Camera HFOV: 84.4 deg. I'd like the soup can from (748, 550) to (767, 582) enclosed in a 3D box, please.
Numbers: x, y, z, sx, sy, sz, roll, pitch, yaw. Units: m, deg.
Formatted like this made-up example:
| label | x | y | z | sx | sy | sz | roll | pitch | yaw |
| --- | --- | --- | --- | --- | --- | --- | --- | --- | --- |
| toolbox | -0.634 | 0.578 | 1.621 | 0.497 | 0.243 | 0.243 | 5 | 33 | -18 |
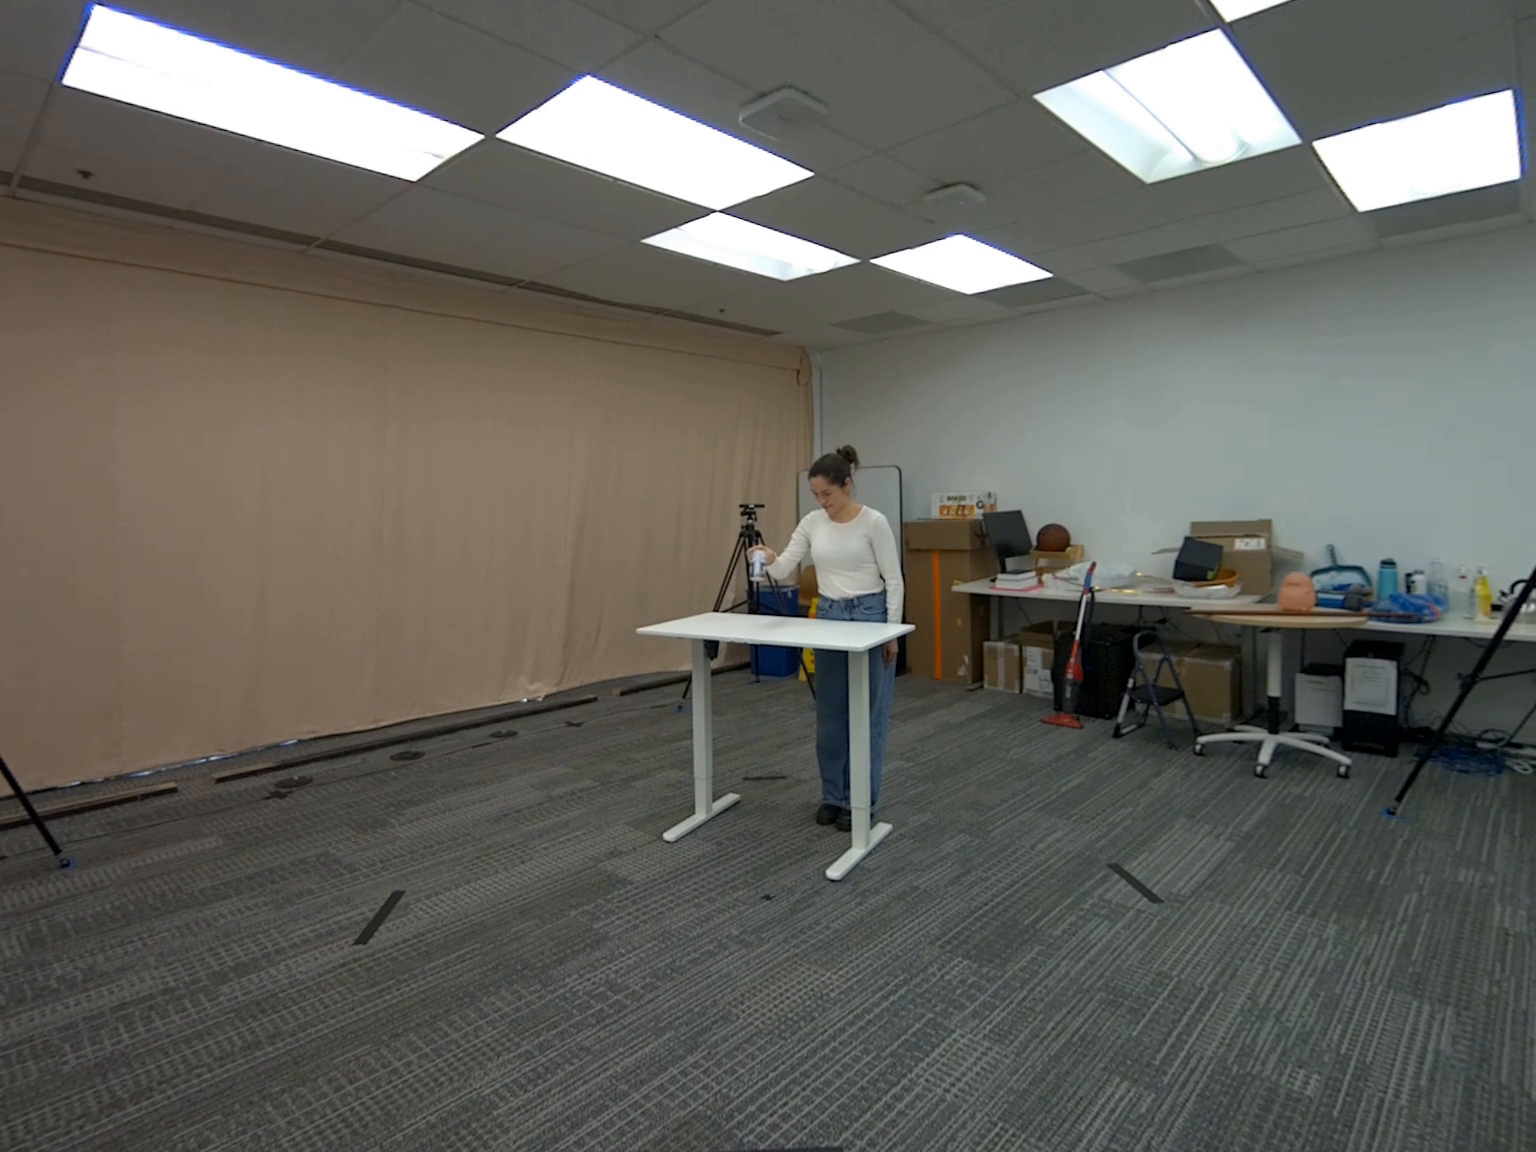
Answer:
| label | x | y | z | sx | sy | sz | roll | pitch | yaw |
| --- | --- | --- | --- | --- | --- | --- | --- | --- | --- |
| soup can | -0.050 | -0.044 | 3.490 | 0.067 | 0.122 | 0.067 | 1 | -7 | -2 |
